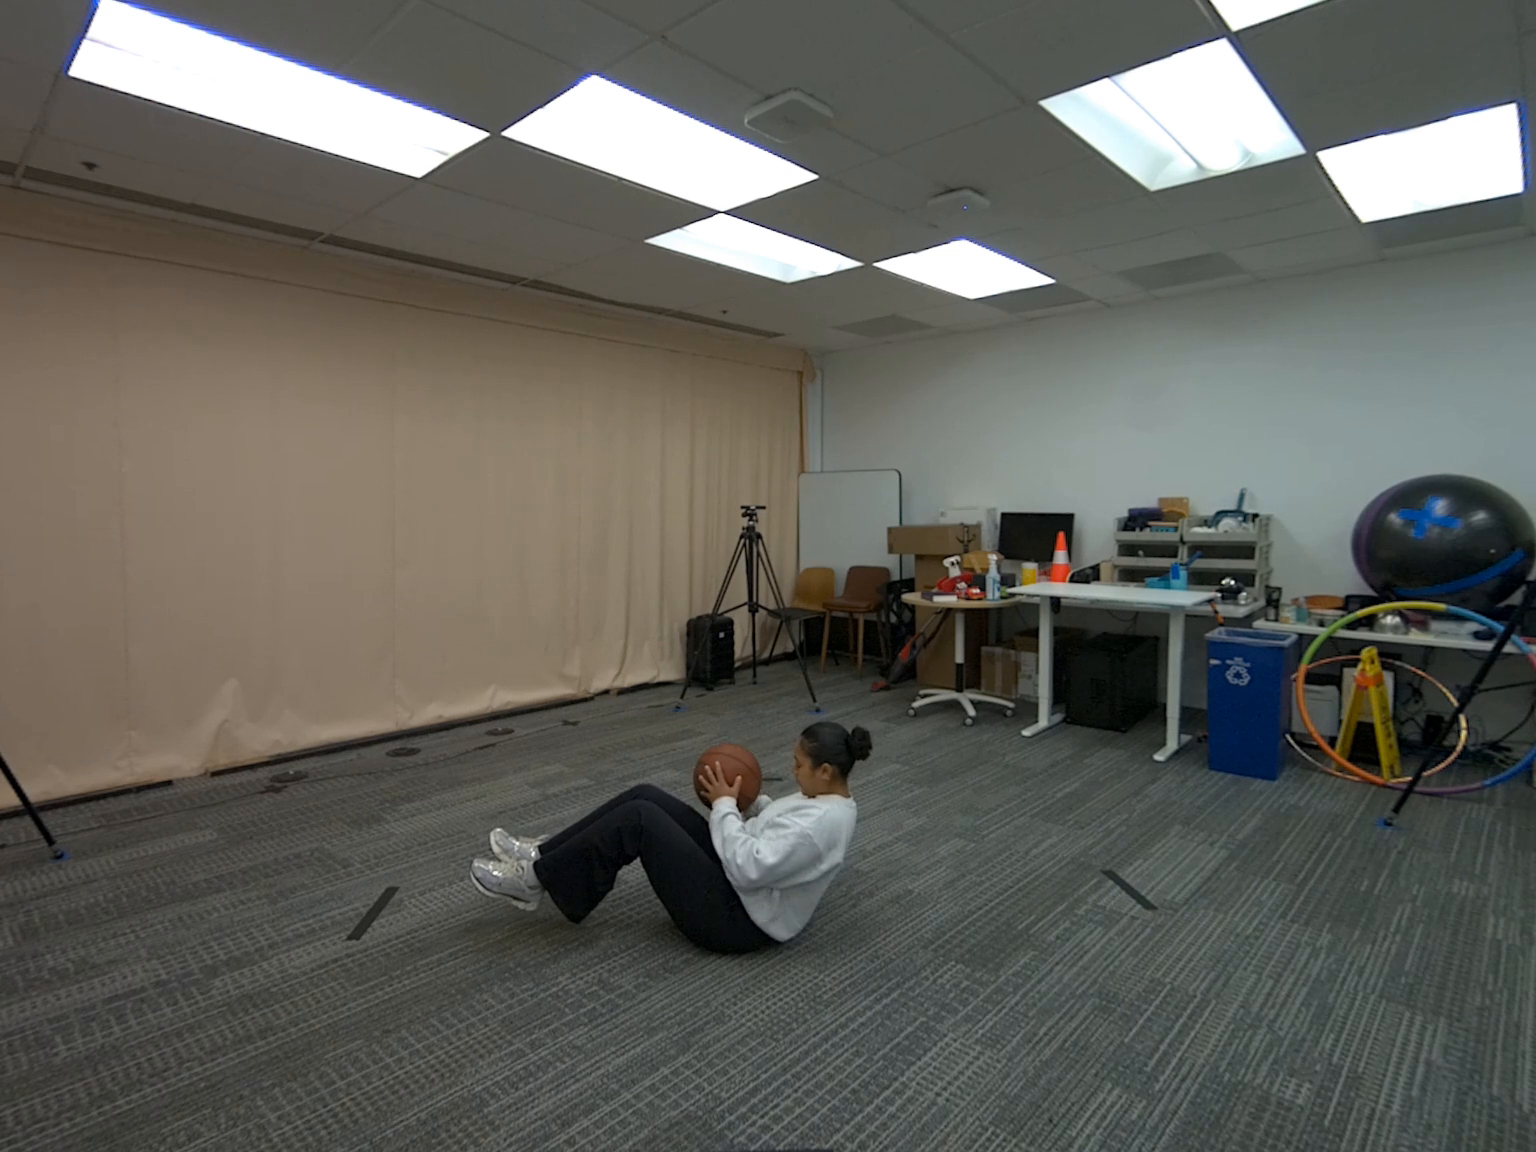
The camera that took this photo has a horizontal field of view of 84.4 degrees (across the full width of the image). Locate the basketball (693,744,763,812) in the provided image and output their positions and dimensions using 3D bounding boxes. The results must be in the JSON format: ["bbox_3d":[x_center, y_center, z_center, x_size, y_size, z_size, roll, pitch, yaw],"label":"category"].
[{"bbox_3d":[-0.124,0.720,2.893,0.236,0.235,0.237,0,4,-2],"label":"basketball"}]
